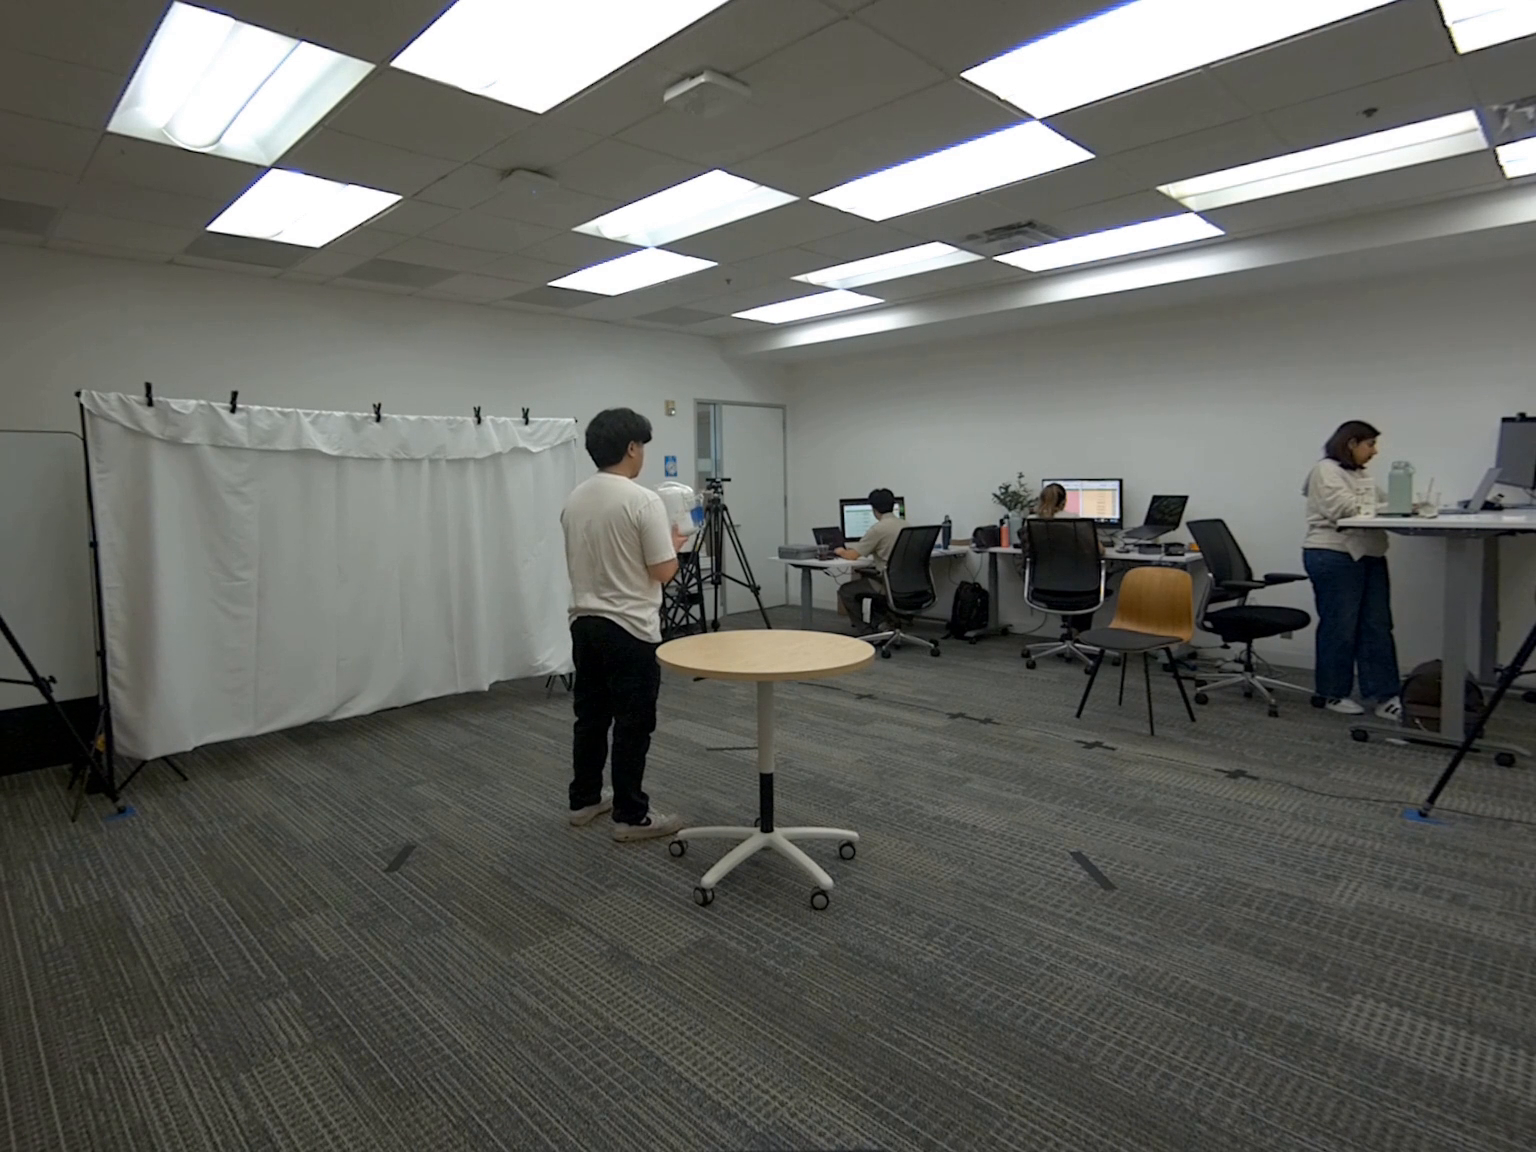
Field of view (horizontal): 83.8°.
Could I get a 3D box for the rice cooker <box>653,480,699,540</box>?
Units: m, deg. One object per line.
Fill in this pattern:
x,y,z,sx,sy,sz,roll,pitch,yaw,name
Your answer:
-0.401,-0.274,3.557,0.226,0.231,0.213,-5,7,34,rice cooker
